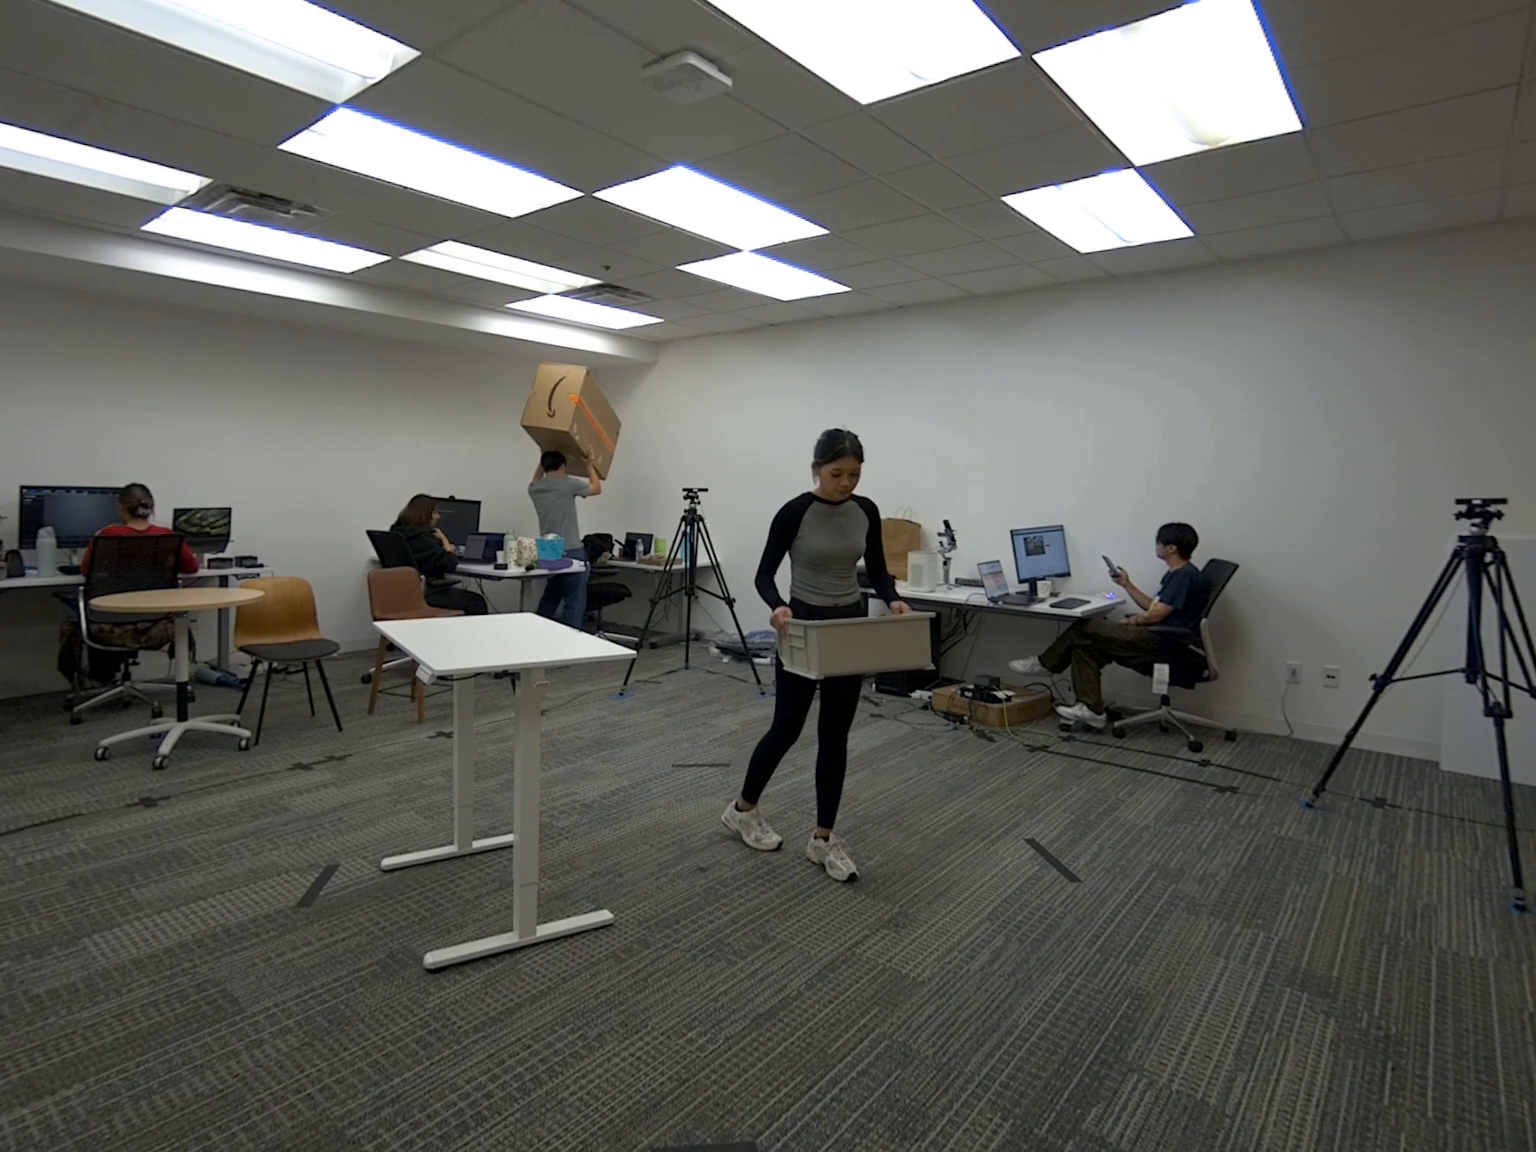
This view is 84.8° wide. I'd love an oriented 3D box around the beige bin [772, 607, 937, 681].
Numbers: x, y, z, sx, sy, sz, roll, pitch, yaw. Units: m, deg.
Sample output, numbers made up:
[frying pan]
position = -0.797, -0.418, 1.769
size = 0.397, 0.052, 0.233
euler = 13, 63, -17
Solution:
[beige bin]
position = 0.276, 0.221, 2.837
size = 0.416, 0.189, 0.383
euler = -3, 0, -16
